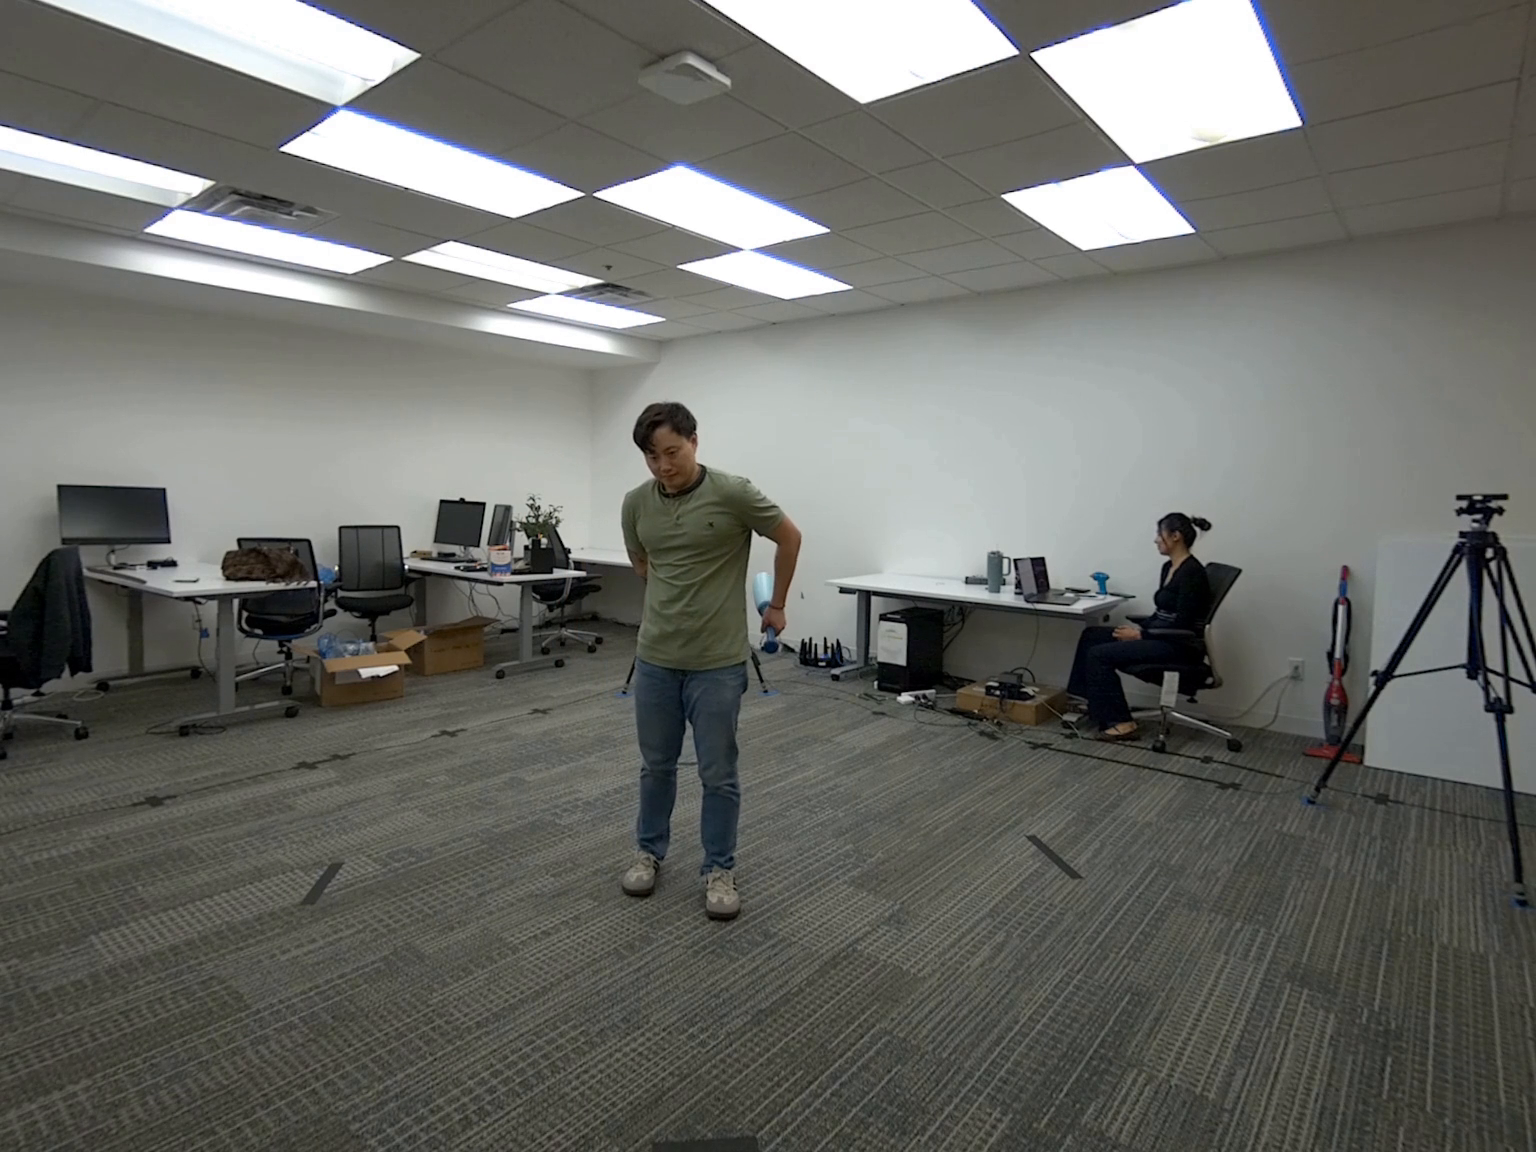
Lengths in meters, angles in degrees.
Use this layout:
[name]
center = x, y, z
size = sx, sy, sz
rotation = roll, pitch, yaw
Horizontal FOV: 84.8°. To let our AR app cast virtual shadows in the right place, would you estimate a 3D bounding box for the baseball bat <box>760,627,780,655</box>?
[baseball bat]
center = -0.010, 0.138, 3.008
size = 0.089, 0.087, 0.555
rotation = 0, 25, -2
